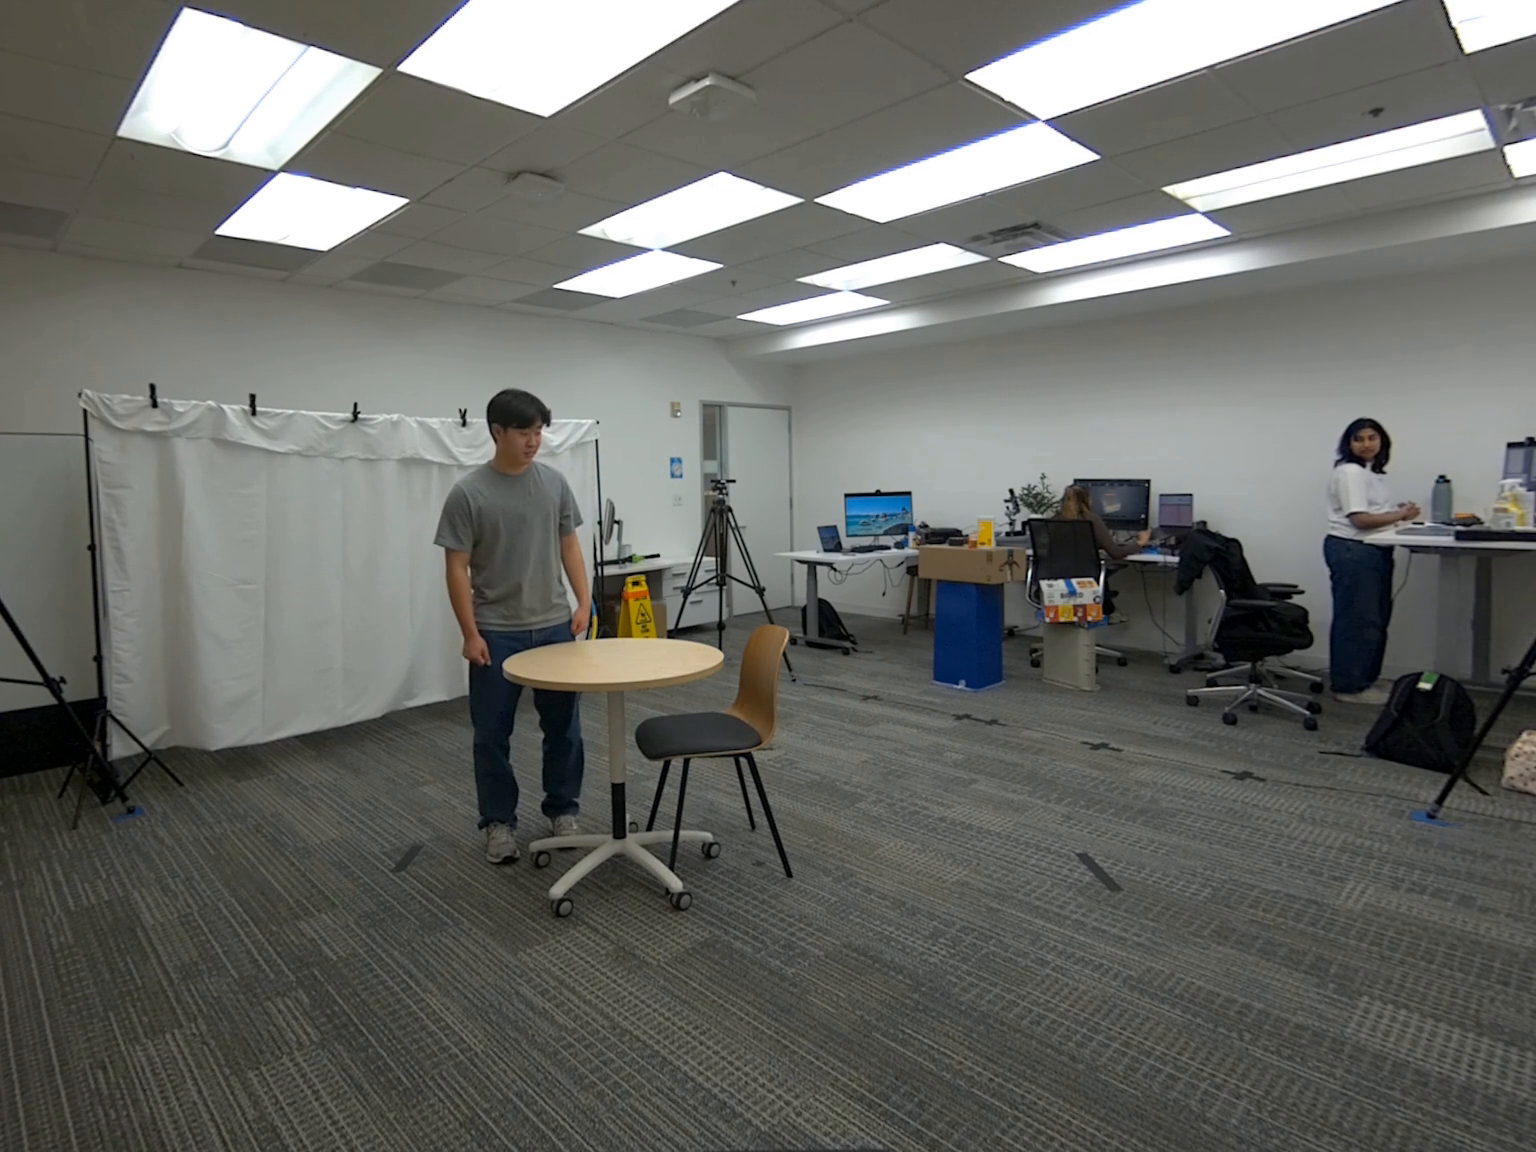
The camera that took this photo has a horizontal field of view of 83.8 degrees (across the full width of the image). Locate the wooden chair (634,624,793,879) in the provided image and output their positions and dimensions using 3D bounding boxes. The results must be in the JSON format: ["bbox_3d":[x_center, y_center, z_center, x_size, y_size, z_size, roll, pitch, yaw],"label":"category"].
[{"bbox_3d":[-0.208,0.615,3.113,0.515,0.875,0.487,2,3,-17],"label":"wooden chair"}]
